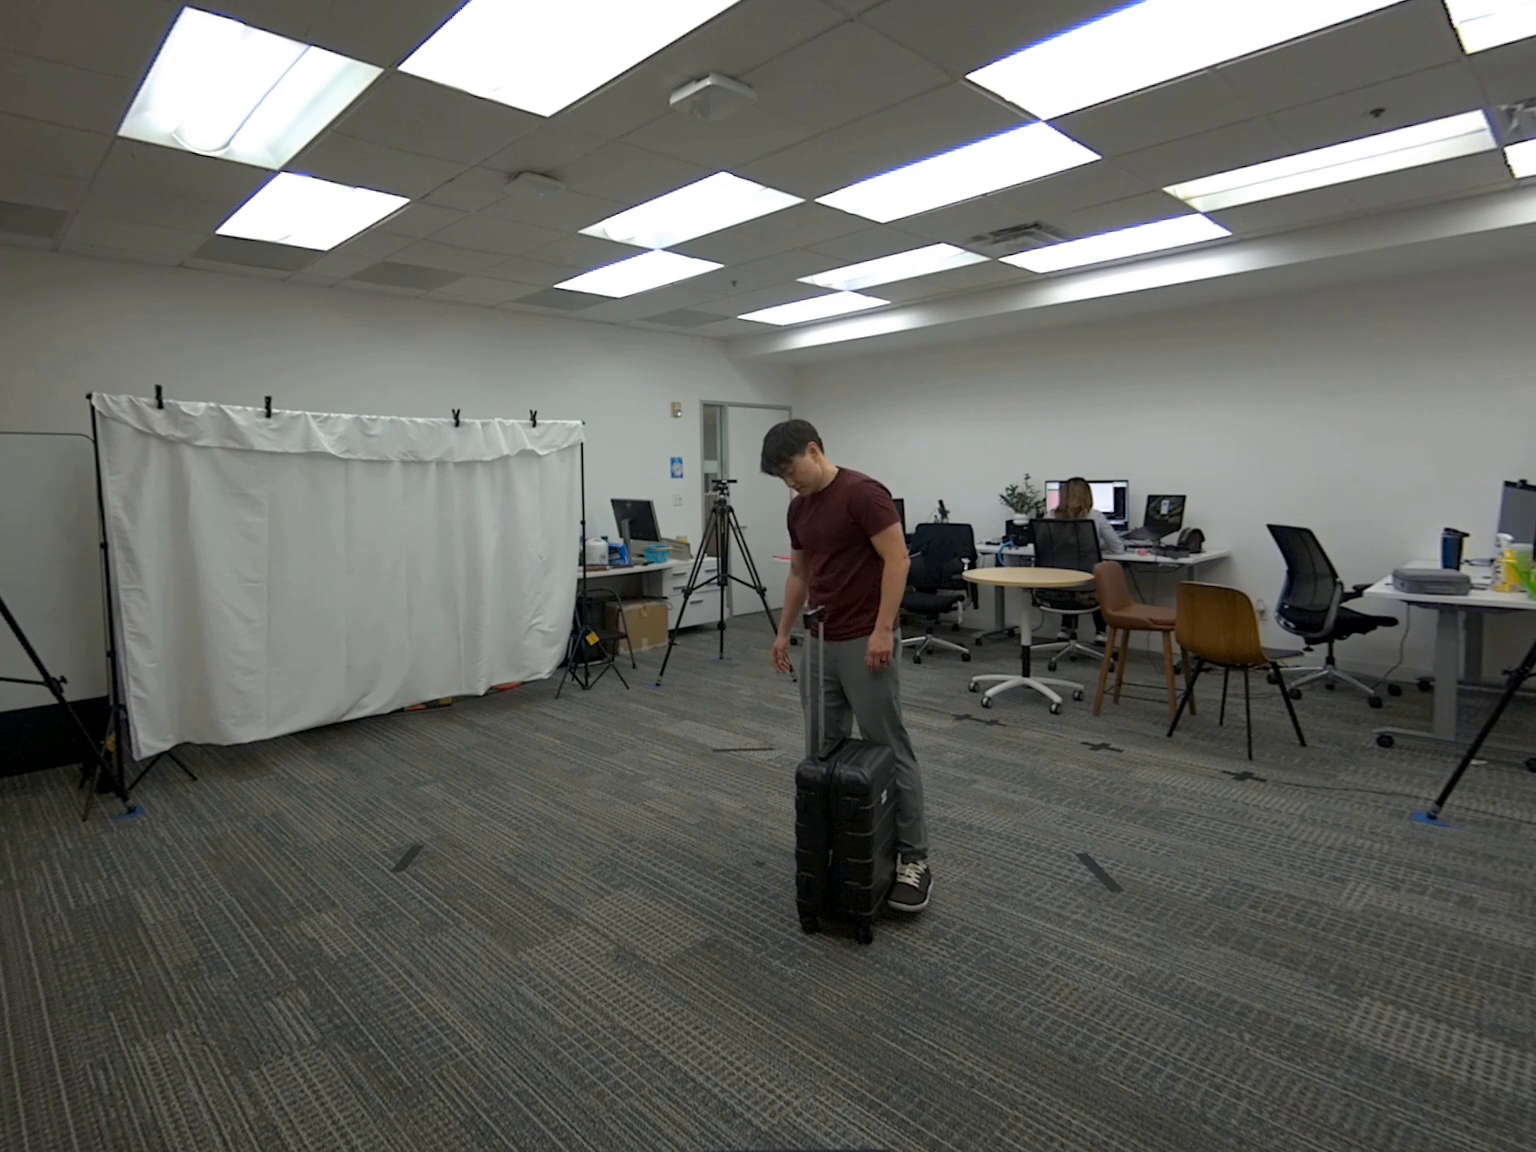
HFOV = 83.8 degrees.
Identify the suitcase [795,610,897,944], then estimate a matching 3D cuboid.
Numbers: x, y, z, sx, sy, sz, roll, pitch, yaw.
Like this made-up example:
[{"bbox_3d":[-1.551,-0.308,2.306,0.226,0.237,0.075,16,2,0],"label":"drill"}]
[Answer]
[{"bbox_3d":[0.254,0.611,2.699,0.263,0.975,0.377,2,5,22],"label":"suitcase"}]
